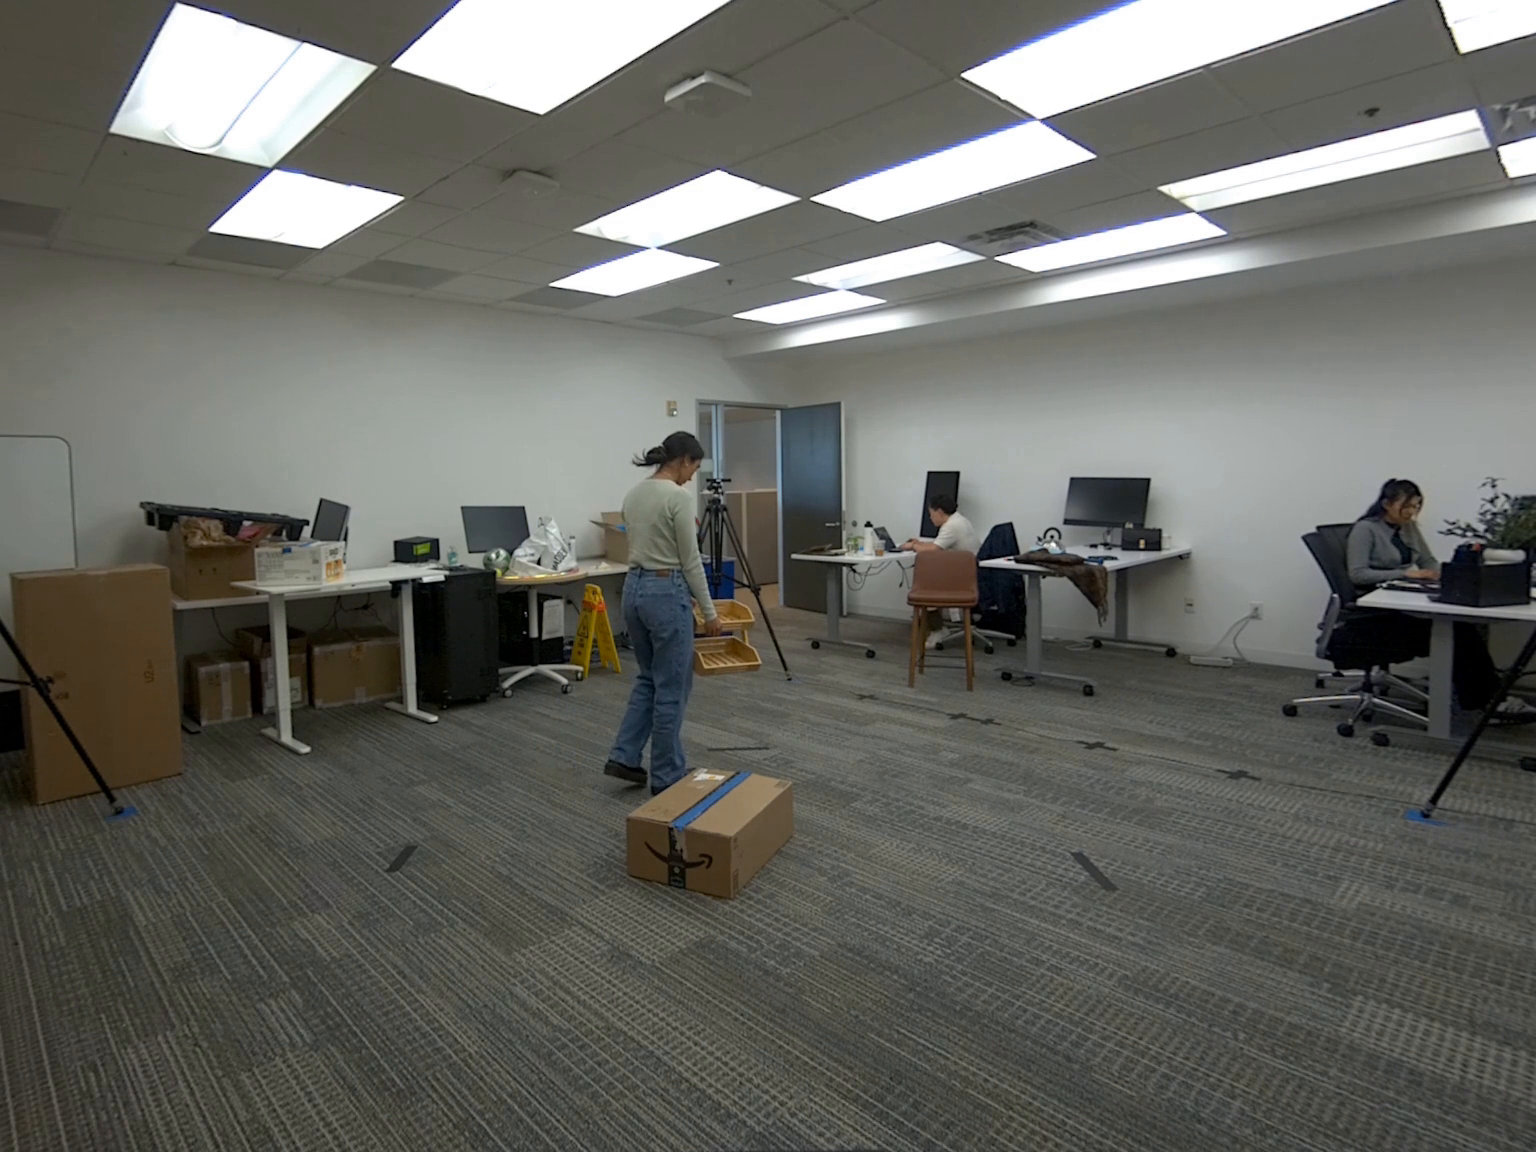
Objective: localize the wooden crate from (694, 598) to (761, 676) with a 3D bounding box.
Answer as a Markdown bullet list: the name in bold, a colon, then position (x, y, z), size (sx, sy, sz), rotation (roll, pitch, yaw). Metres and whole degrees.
- **wooden crate**: position (-0.228, 0.270, 3.893), size (0.316, 0.271, 0.312), rotation (0, 13, -33)
